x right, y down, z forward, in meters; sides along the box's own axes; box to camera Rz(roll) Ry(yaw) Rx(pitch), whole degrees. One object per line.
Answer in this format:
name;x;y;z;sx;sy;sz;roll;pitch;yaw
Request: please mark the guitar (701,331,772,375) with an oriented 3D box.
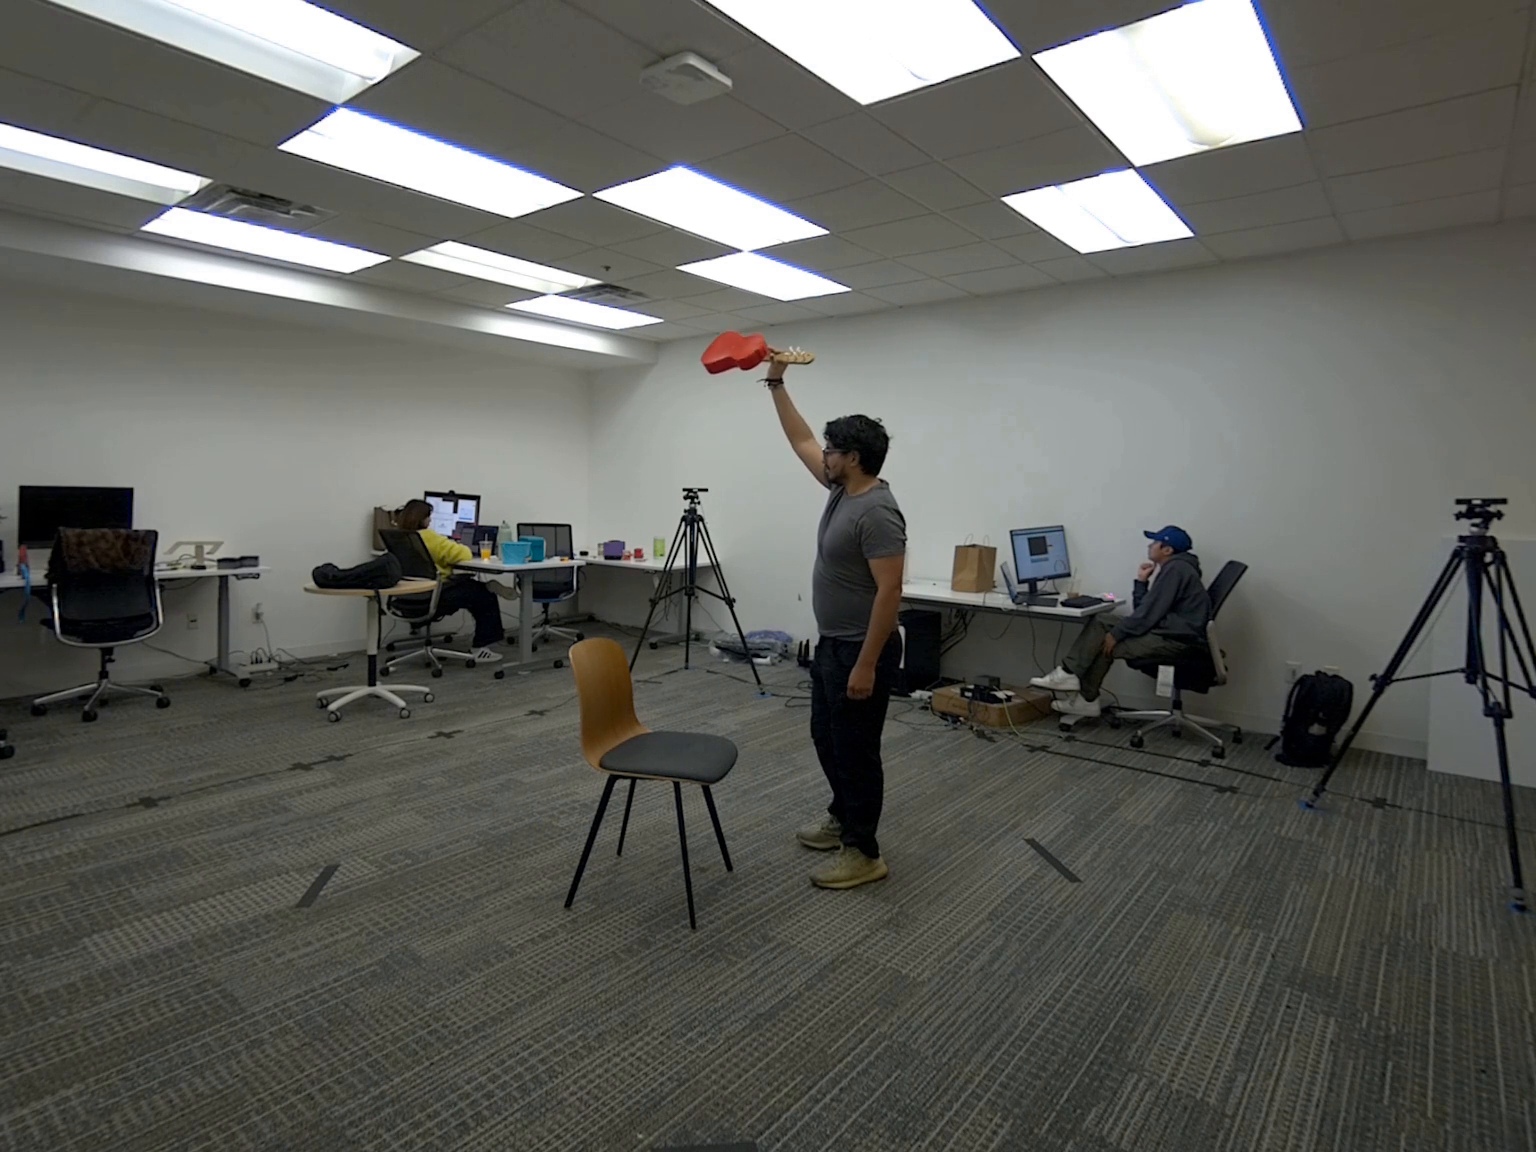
guitar;-0.028;-0.869;3.239;0.514;0.195;0.068;4;-37;36
